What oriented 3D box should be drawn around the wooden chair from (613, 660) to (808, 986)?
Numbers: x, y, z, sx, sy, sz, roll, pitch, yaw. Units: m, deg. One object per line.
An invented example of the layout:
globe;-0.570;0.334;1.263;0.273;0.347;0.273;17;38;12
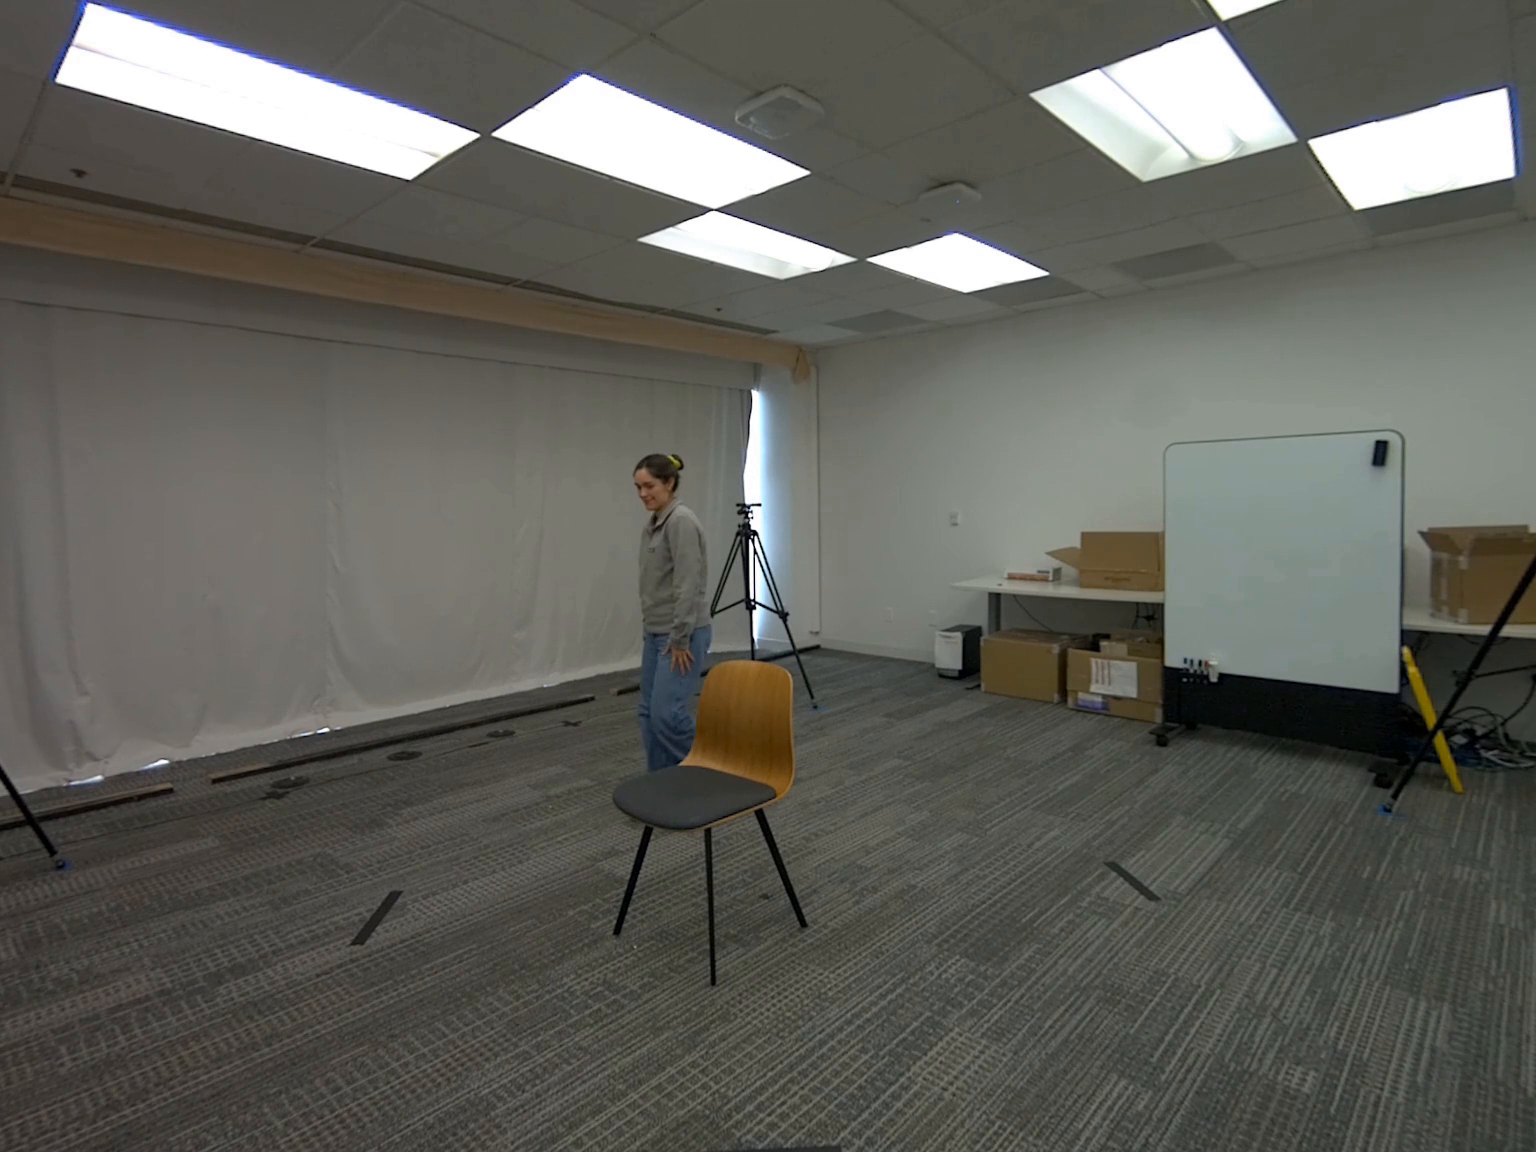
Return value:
wooden chair;-0.192;0.736;2.714;0.494;0.877;0.506;2;0;41
